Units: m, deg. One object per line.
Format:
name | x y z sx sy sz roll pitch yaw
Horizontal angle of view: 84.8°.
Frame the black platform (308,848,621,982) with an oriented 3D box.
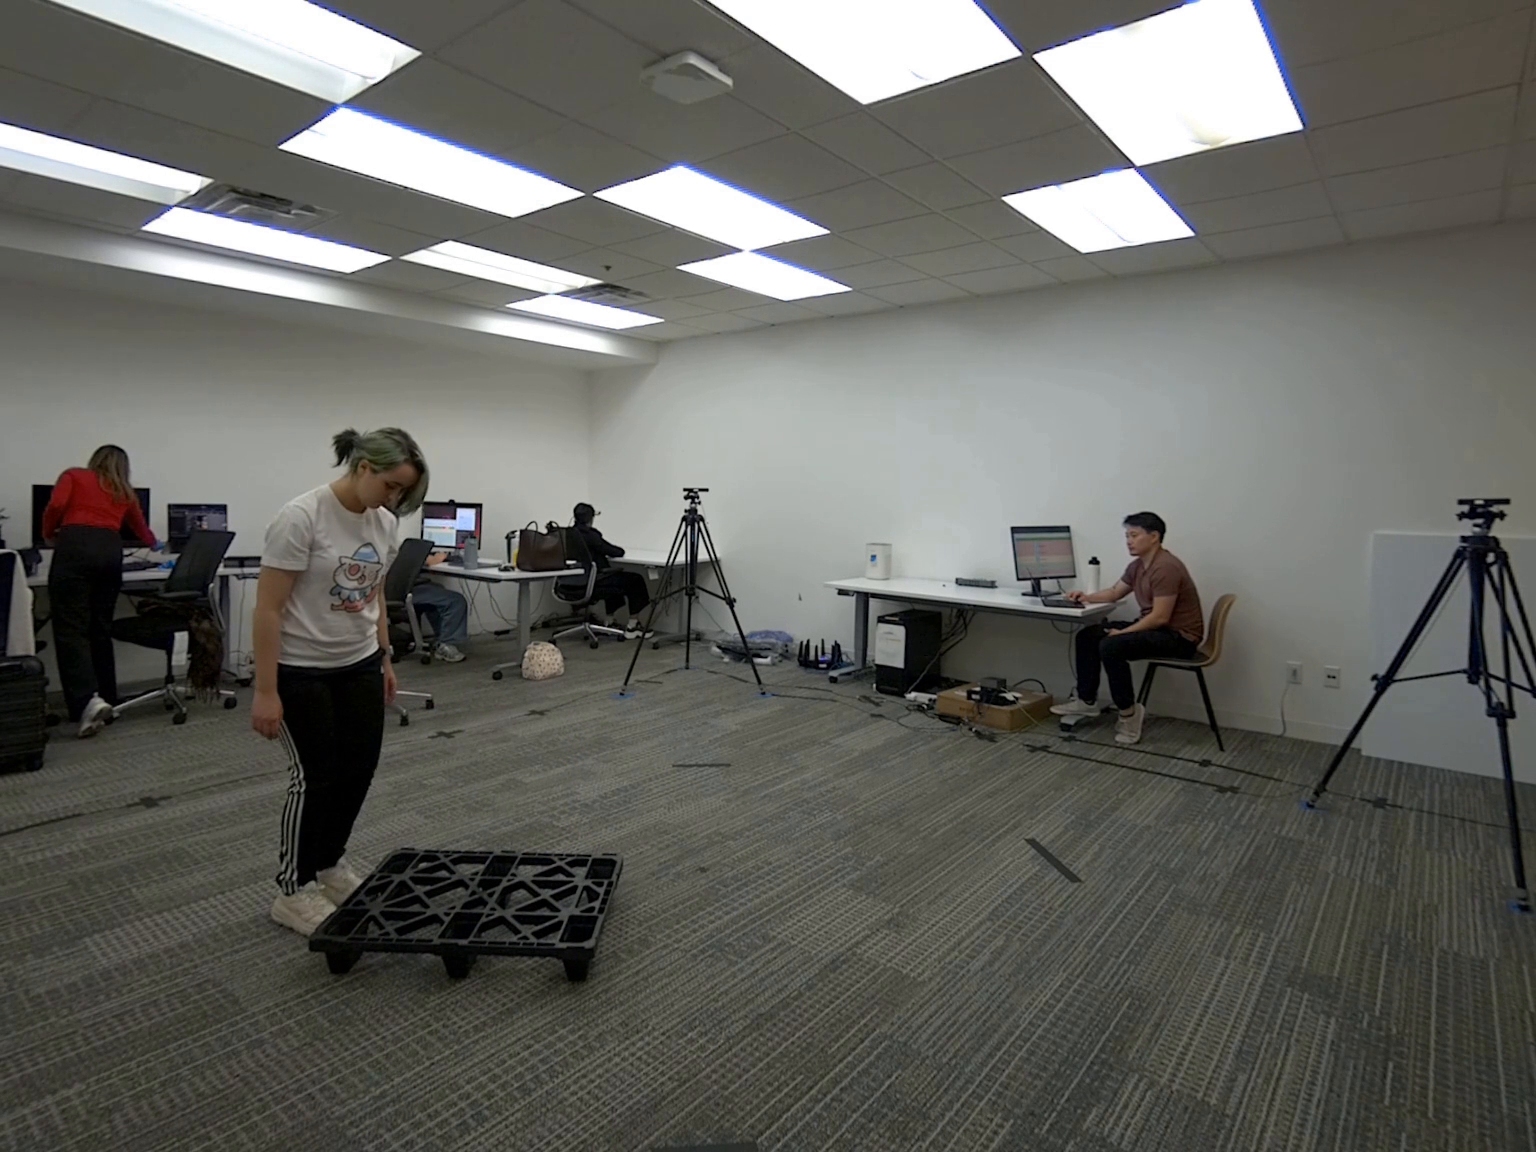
black platform | -0.891 1.037 2.624 0.807 0.142 0.608 1 7 0
